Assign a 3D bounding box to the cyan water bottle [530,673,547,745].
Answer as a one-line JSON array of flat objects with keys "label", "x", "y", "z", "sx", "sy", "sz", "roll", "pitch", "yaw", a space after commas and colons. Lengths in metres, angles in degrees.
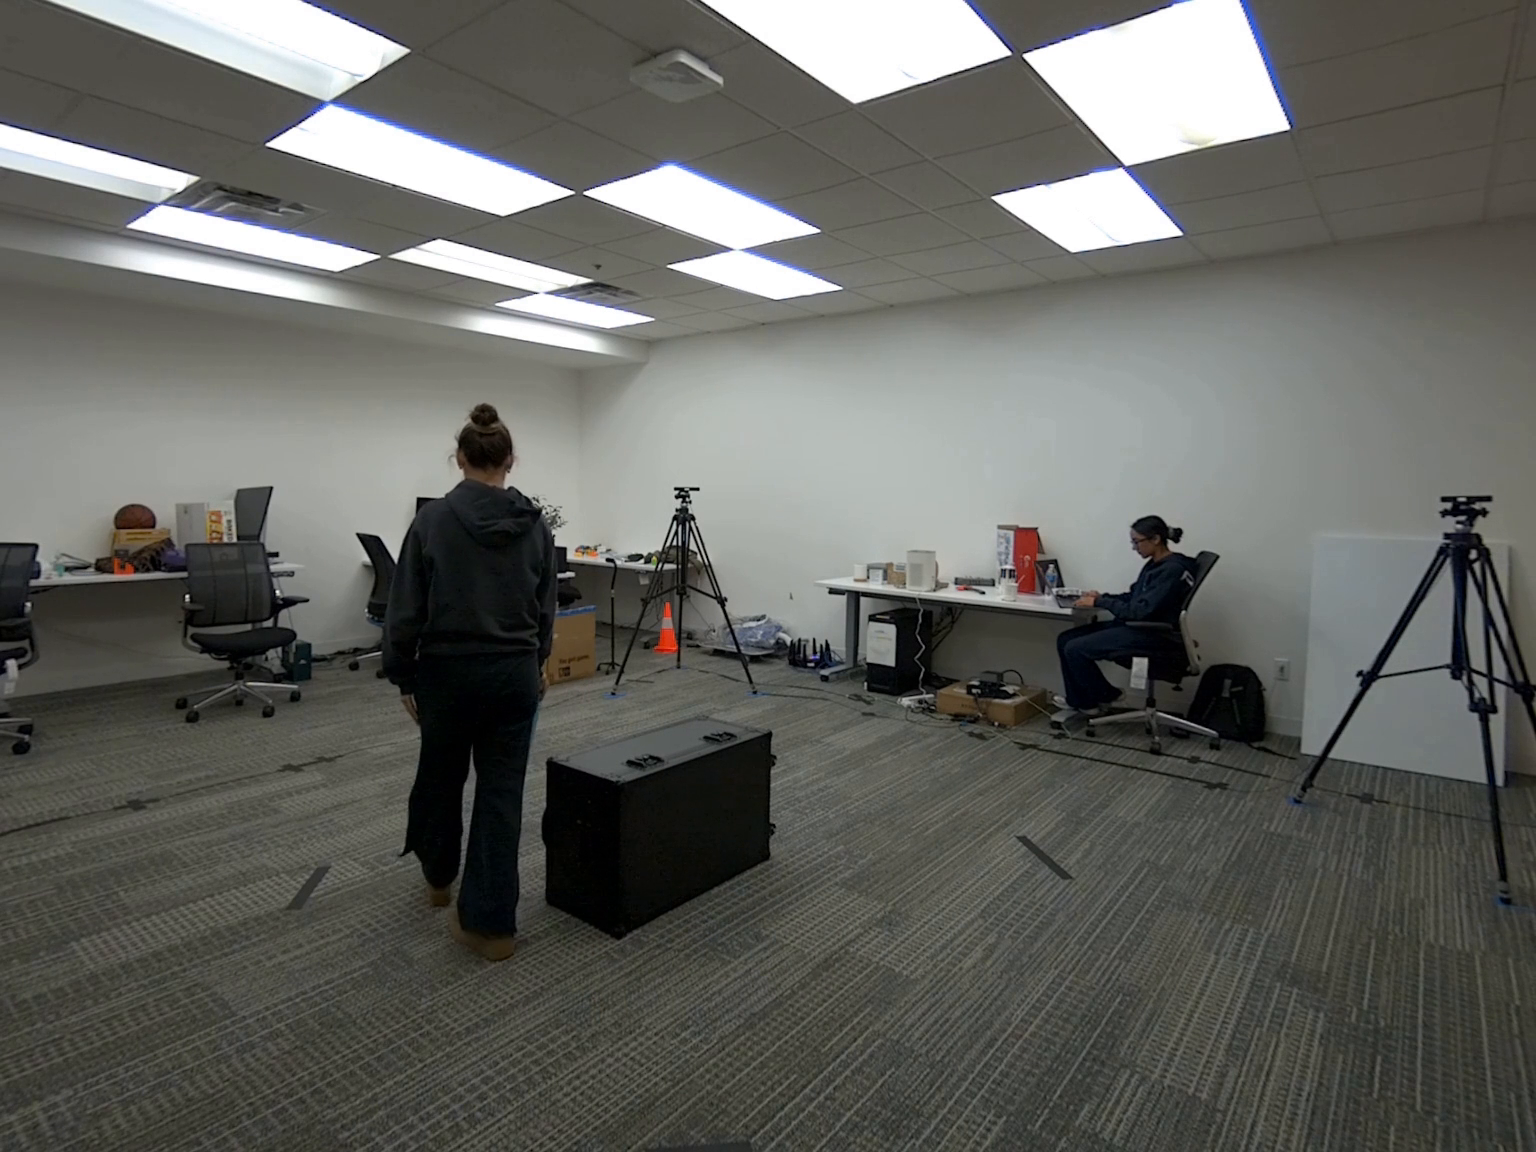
[{"label": "cyan water bottle", "x": -0.836, "y": 0.496, "z": 2.915, "sx": 0.092, "sy": 0.281, "sz": 0.093, "roll": 10, "pitch": 8, "yaw": -3}]
